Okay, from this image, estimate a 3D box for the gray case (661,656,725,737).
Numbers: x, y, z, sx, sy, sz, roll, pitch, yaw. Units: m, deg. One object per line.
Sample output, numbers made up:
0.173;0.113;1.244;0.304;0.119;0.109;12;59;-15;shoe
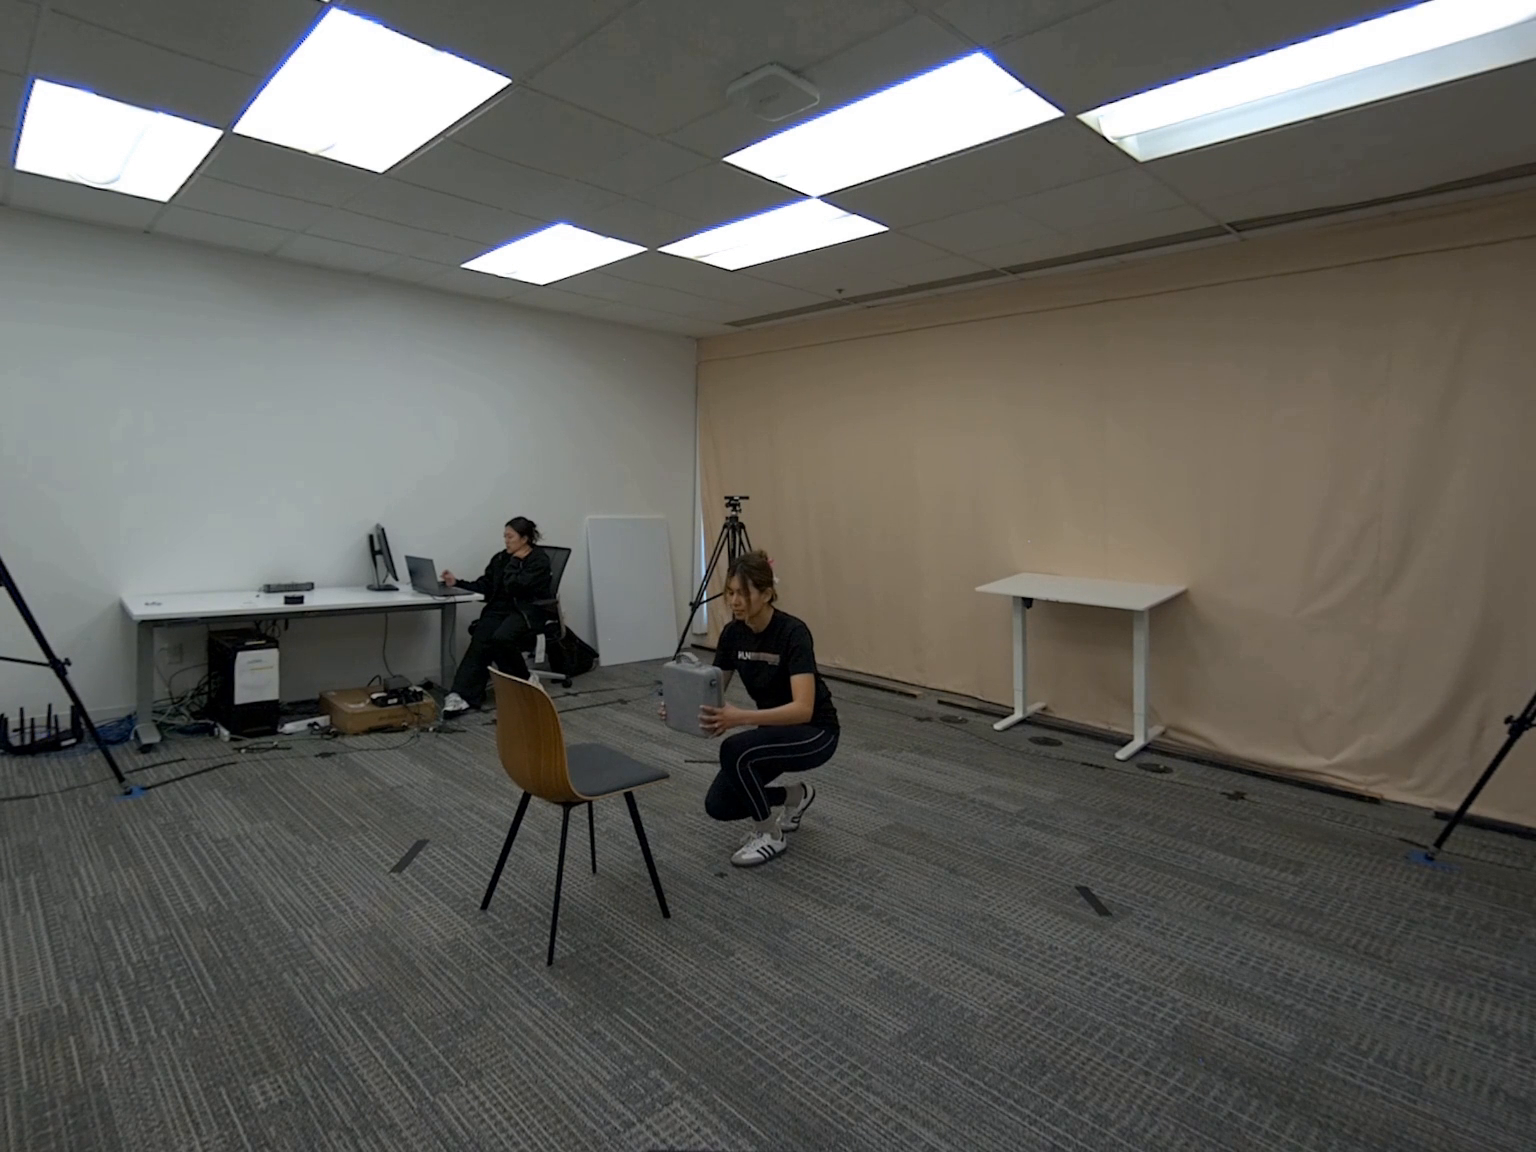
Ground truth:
-0.267;0.435;3.074;0.102;0.260;0.263;-9;7;-44;gray case
